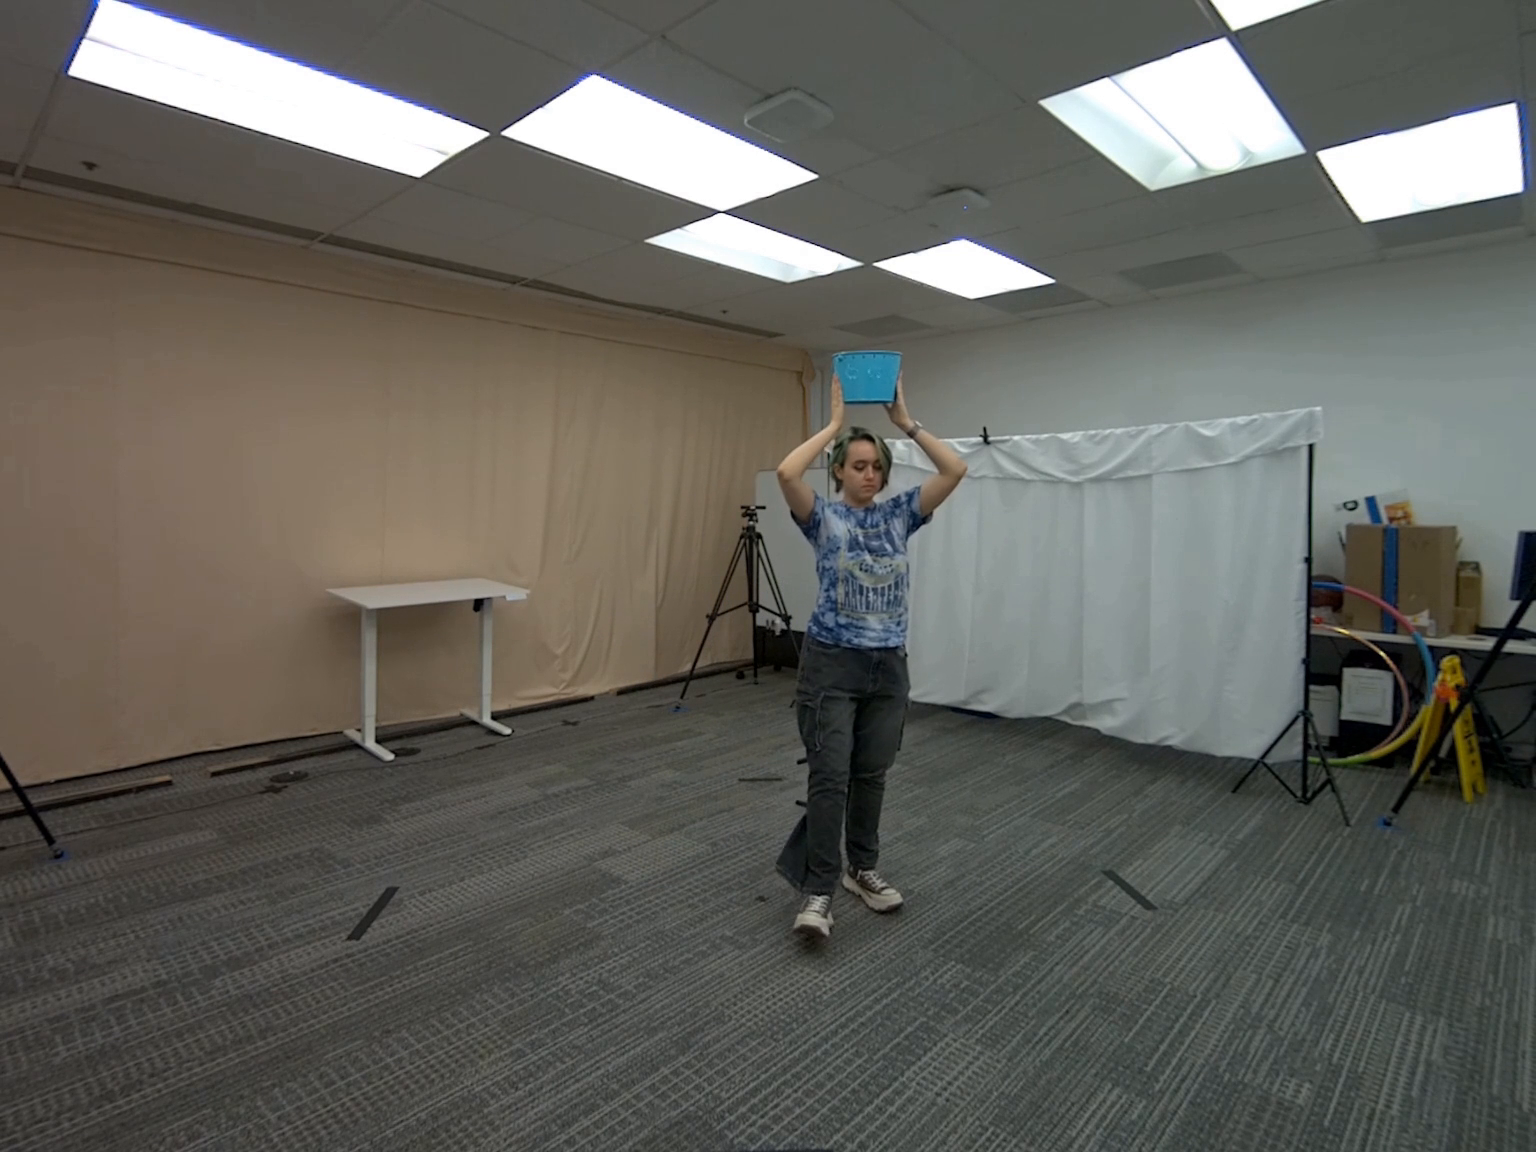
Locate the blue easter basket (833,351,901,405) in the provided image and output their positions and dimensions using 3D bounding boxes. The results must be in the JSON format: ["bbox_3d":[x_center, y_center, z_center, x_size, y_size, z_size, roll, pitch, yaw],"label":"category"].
[{"bbox_3d":[0.334,-0.653,2.774,0.243,0.155,0.245,1,8,-2],"label":"blue easter basket"}]
